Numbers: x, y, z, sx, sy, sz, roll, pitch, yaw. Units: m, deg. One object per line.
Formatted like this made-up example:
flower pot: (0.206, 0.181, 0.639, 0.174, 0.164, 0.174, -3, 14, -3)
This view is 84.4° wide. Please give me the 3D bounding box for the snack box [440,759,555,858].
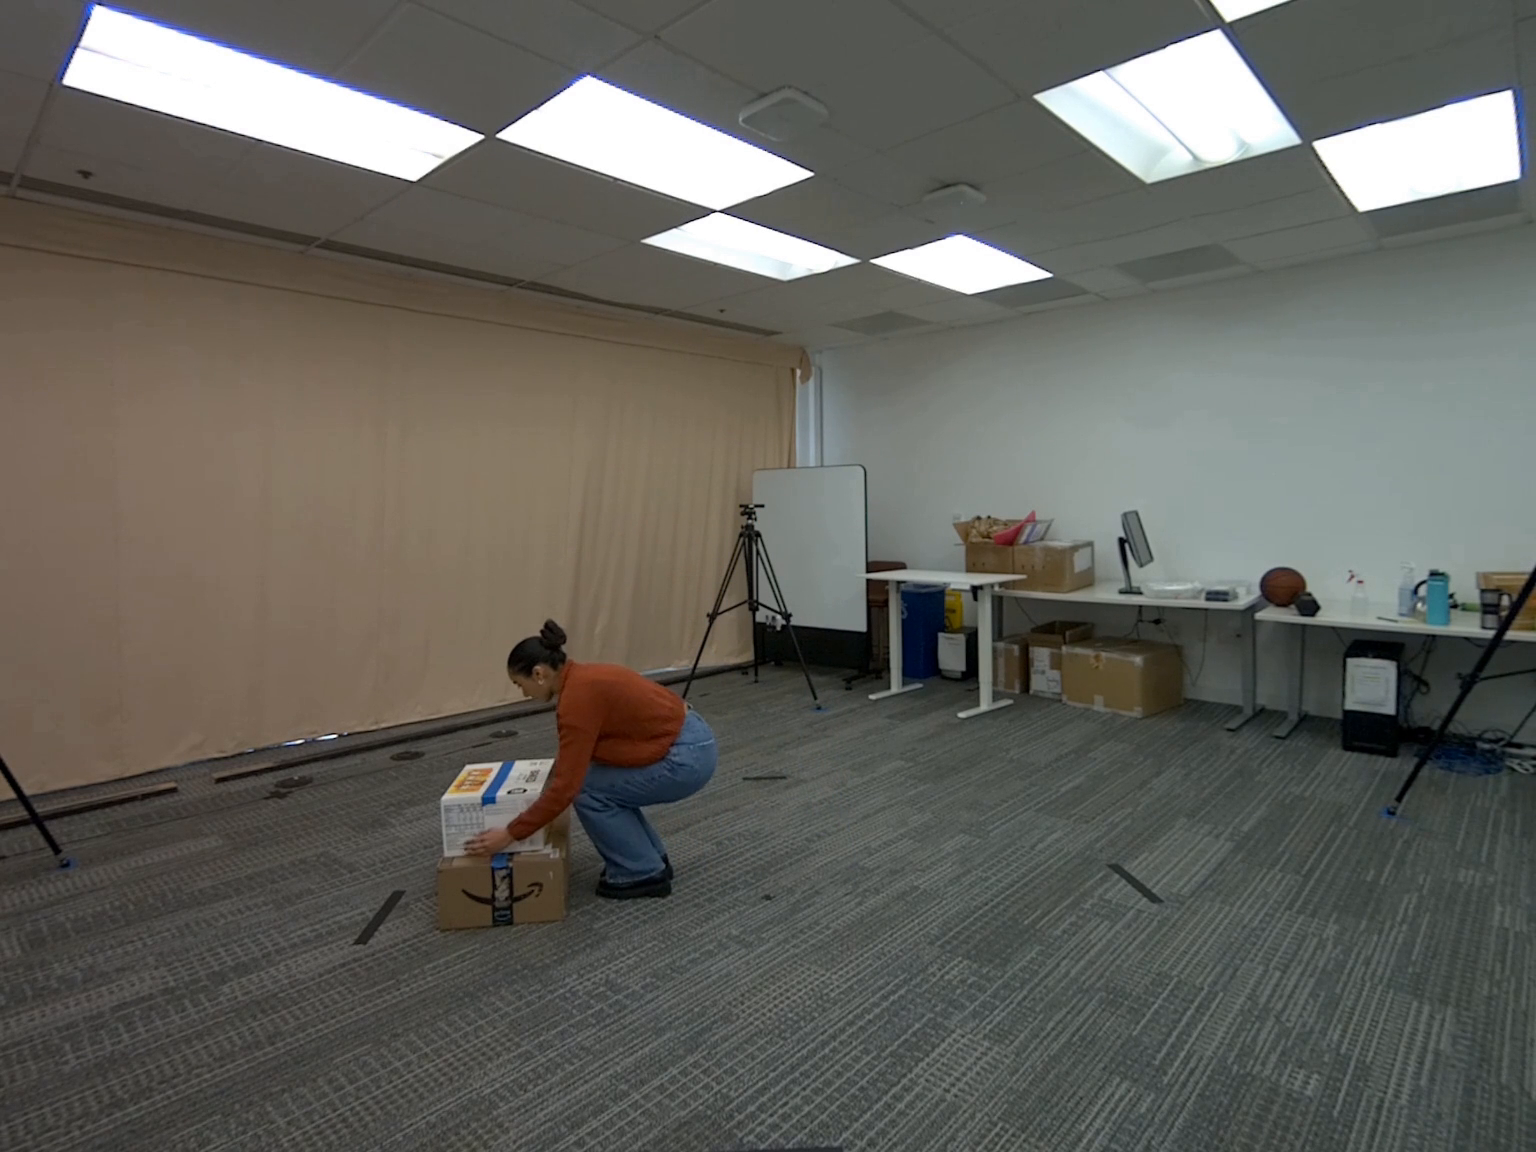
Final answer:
snack box: (-0.968, 0.840, 3.074, 0.339, 0.205, 0.408, -4, 4, -6)
